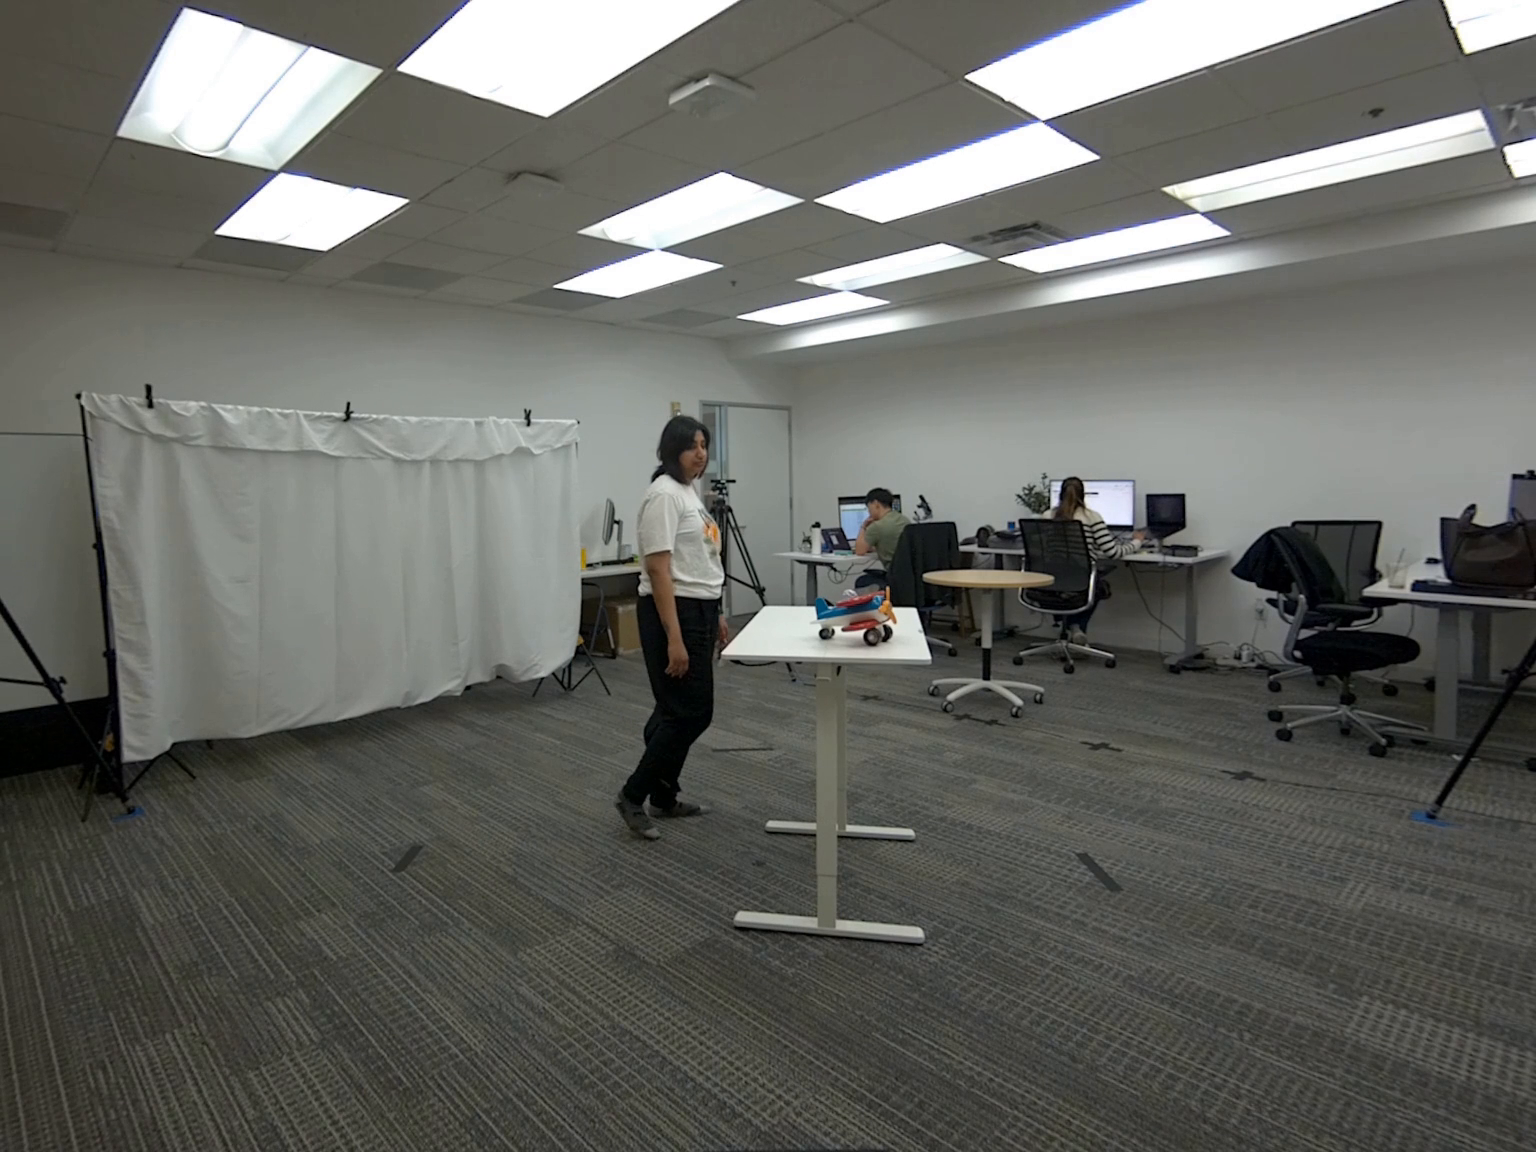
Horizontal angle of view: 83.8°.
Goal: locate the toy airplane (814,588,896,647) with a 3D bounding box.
[{"bbox_3d":[0.266,0.130,2.658,0.260,0.156,0.251,2,5,4],"label":"toy airplane"}]
